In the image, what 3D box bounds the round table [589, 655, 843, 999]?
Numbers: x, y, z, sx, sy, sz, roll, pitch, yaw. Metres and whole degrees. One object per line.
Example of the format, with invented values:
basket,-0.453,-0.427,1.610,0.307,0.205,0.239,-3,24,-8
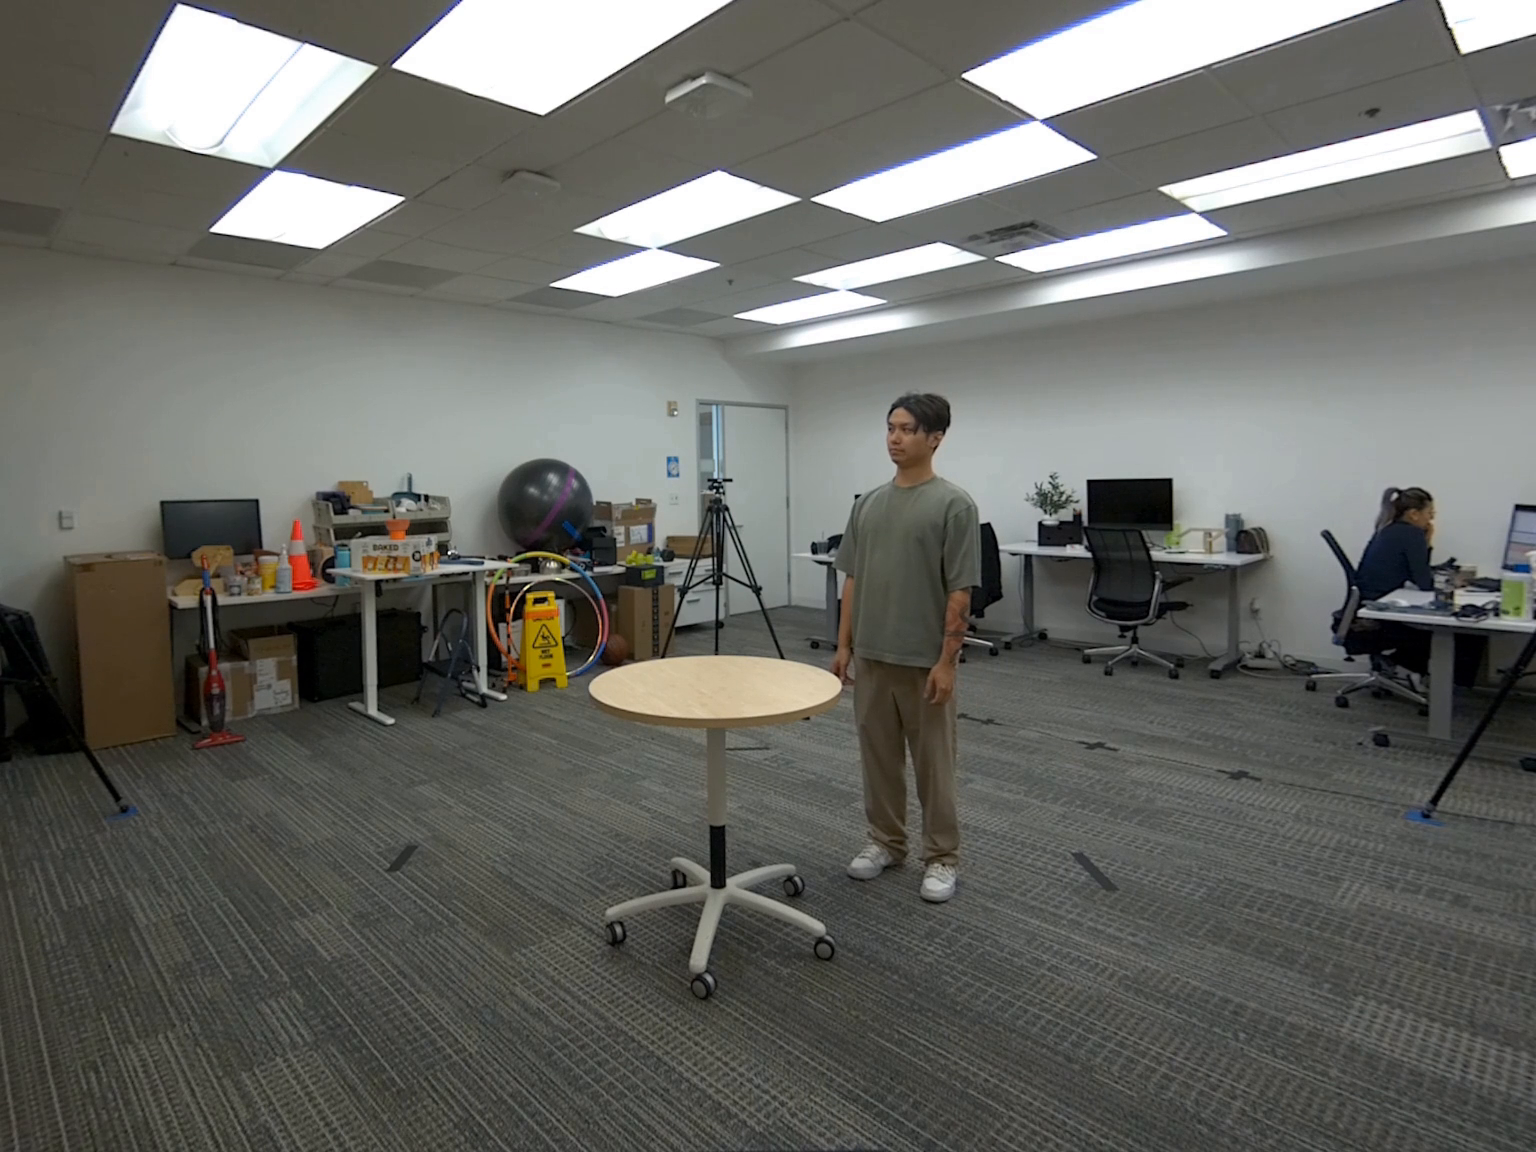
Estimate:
round table,-0.160,0.712,2.630,0.784,0.783,0.789,-1,5,-2
